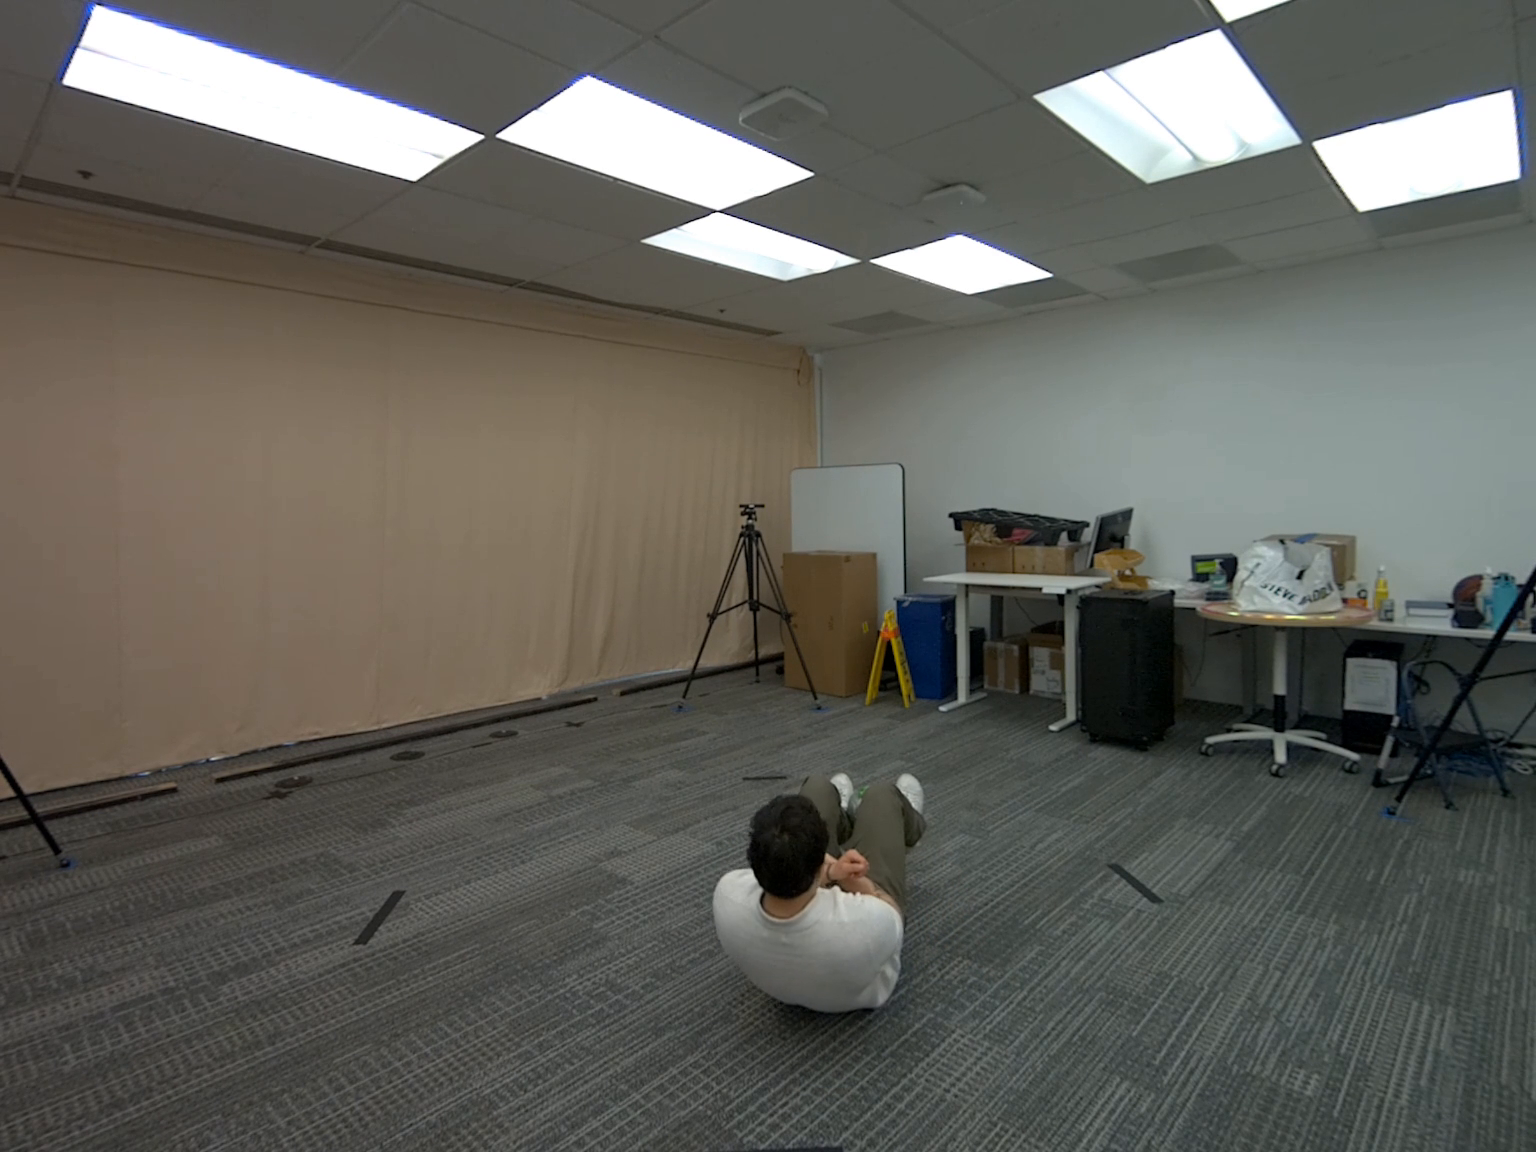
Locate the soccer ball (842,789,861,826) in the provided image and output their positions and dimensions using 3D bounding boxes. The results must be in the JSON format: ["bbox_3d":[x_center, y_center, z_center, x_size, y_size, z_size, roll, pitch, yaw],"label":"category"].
[{"bbox_3d":[0.392,0.847,2.999,0.187,0.187,0.188,-1,4,-2],"label":"soccer ball"}]
